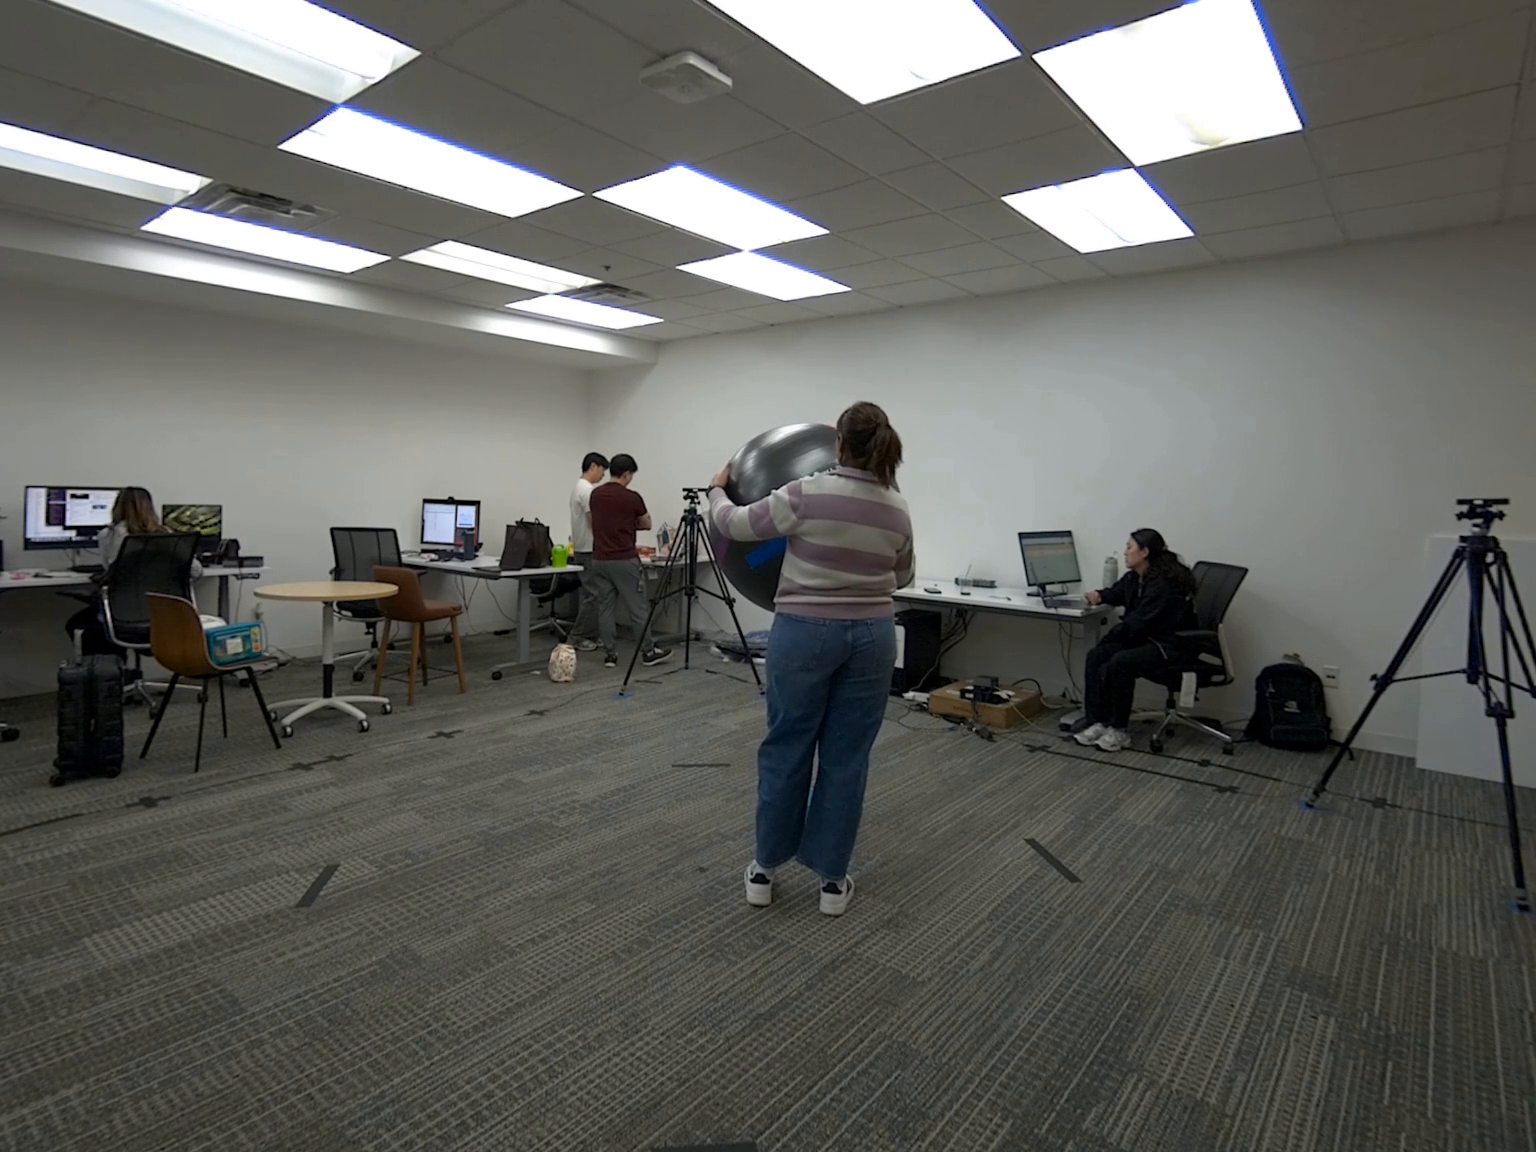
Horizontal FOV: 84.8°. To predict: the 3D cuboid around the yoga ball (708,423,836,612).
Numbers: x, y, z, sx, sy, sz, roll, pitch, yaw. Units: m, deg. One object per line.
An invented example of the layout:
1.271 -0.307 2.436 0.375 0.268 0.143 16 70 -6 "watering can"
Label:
0.130 -0.222 3.344 0.757 0.756 0.761 1 4 -2 "yoga ball"
